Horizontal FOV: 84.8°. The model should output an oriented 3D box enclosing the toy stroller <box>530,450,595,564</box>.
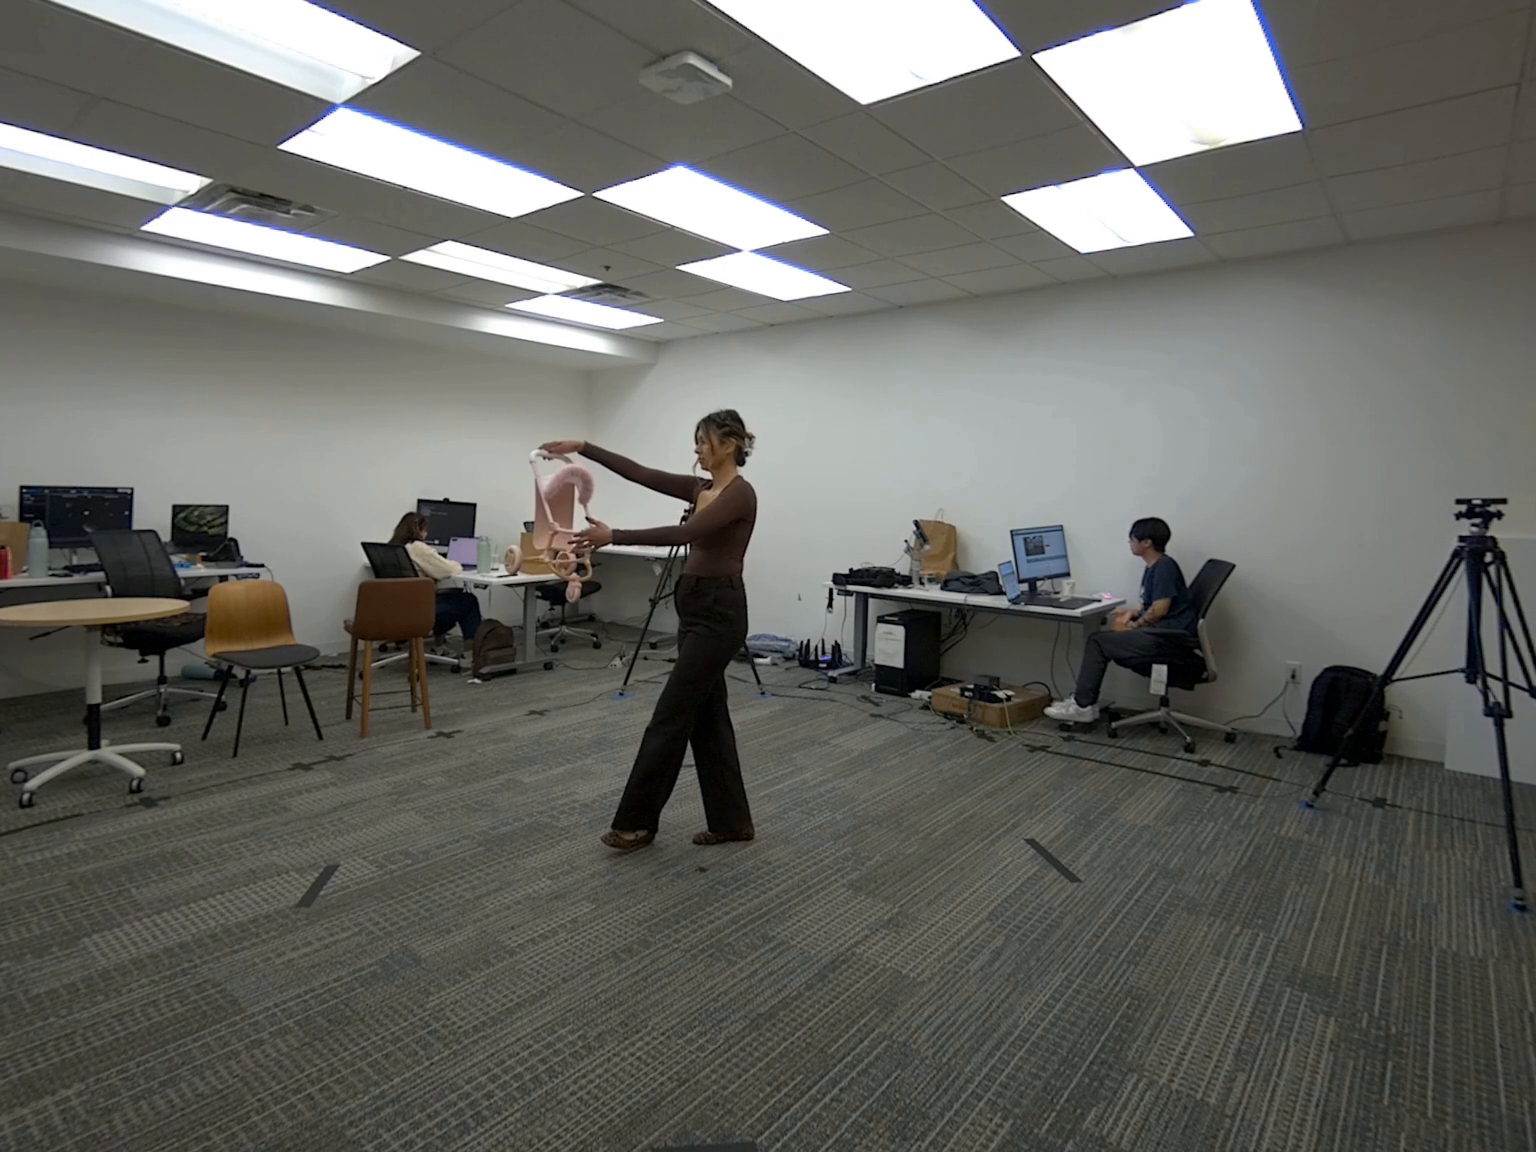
[{"bbox_3d":[-0.795,-0.191,3.212,0.271,0.534,0.354,8,3,-44],"label":"toy stroller"}]
